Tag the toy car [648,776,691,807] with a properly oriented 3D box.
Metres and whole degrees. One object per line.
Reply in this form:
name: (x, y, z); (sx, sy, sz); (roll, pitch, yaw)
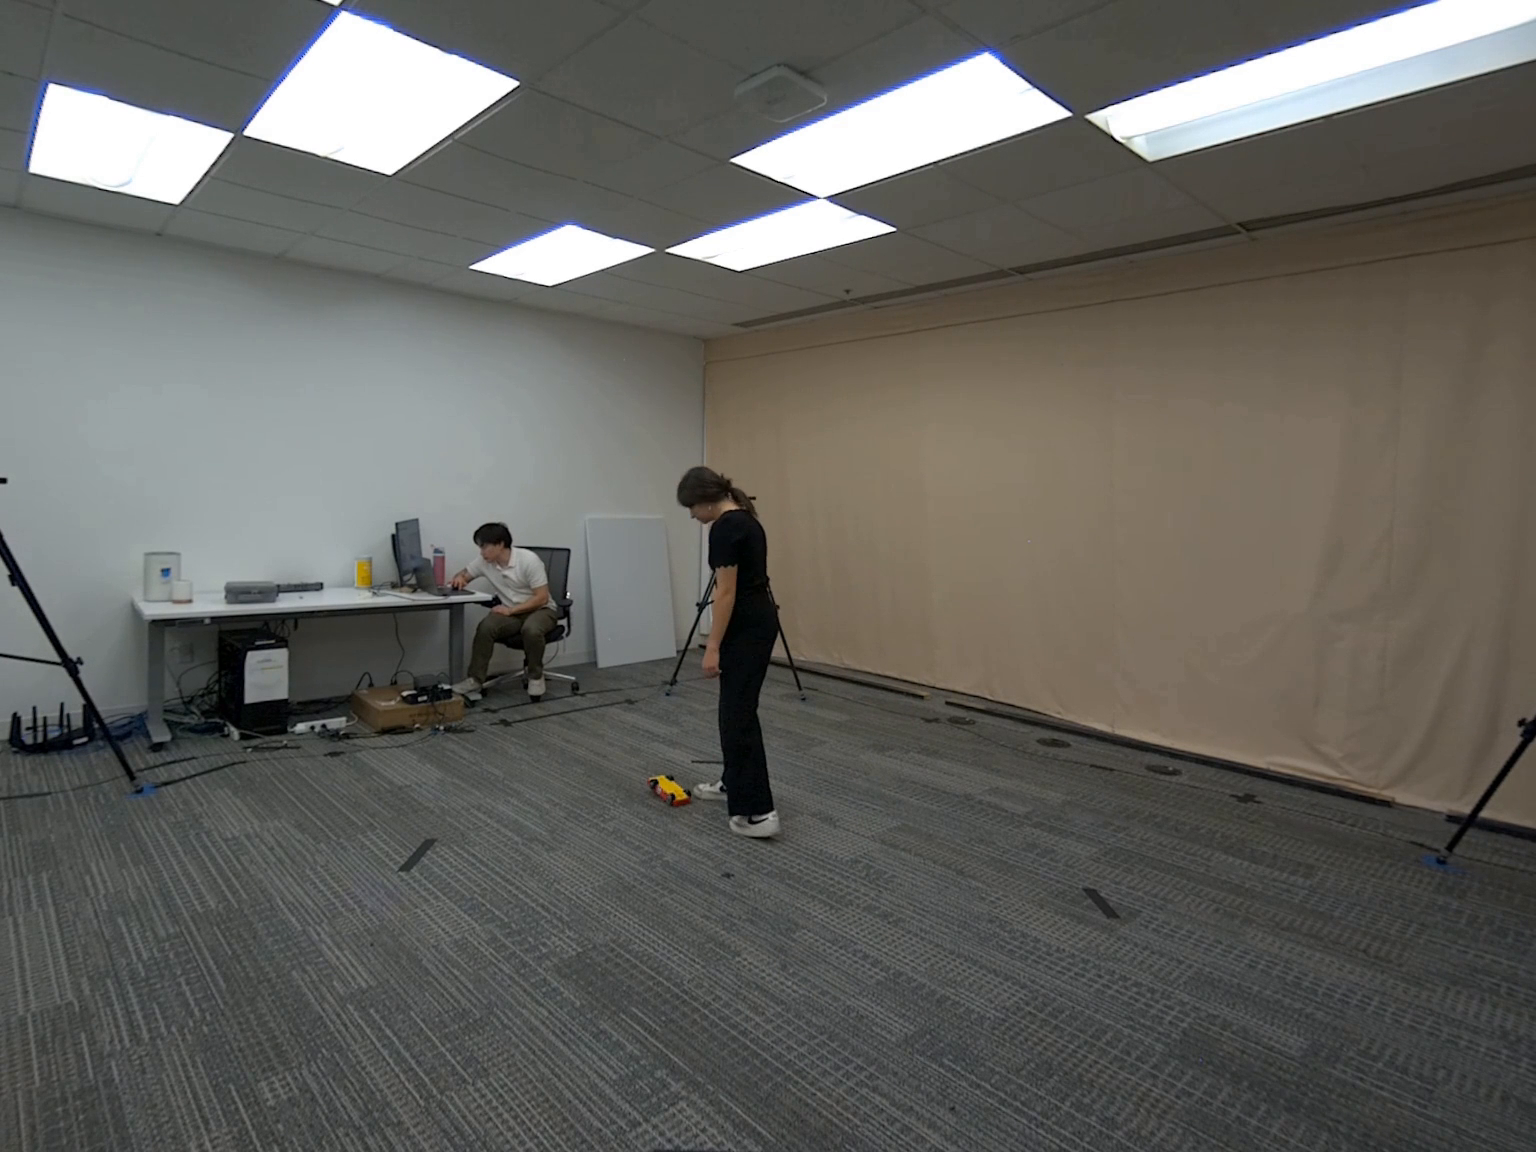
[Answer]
toy car: (-0.473, 0.983, 3.901); (0.127, 0.083, 0.261); (-2, 6, -39)
